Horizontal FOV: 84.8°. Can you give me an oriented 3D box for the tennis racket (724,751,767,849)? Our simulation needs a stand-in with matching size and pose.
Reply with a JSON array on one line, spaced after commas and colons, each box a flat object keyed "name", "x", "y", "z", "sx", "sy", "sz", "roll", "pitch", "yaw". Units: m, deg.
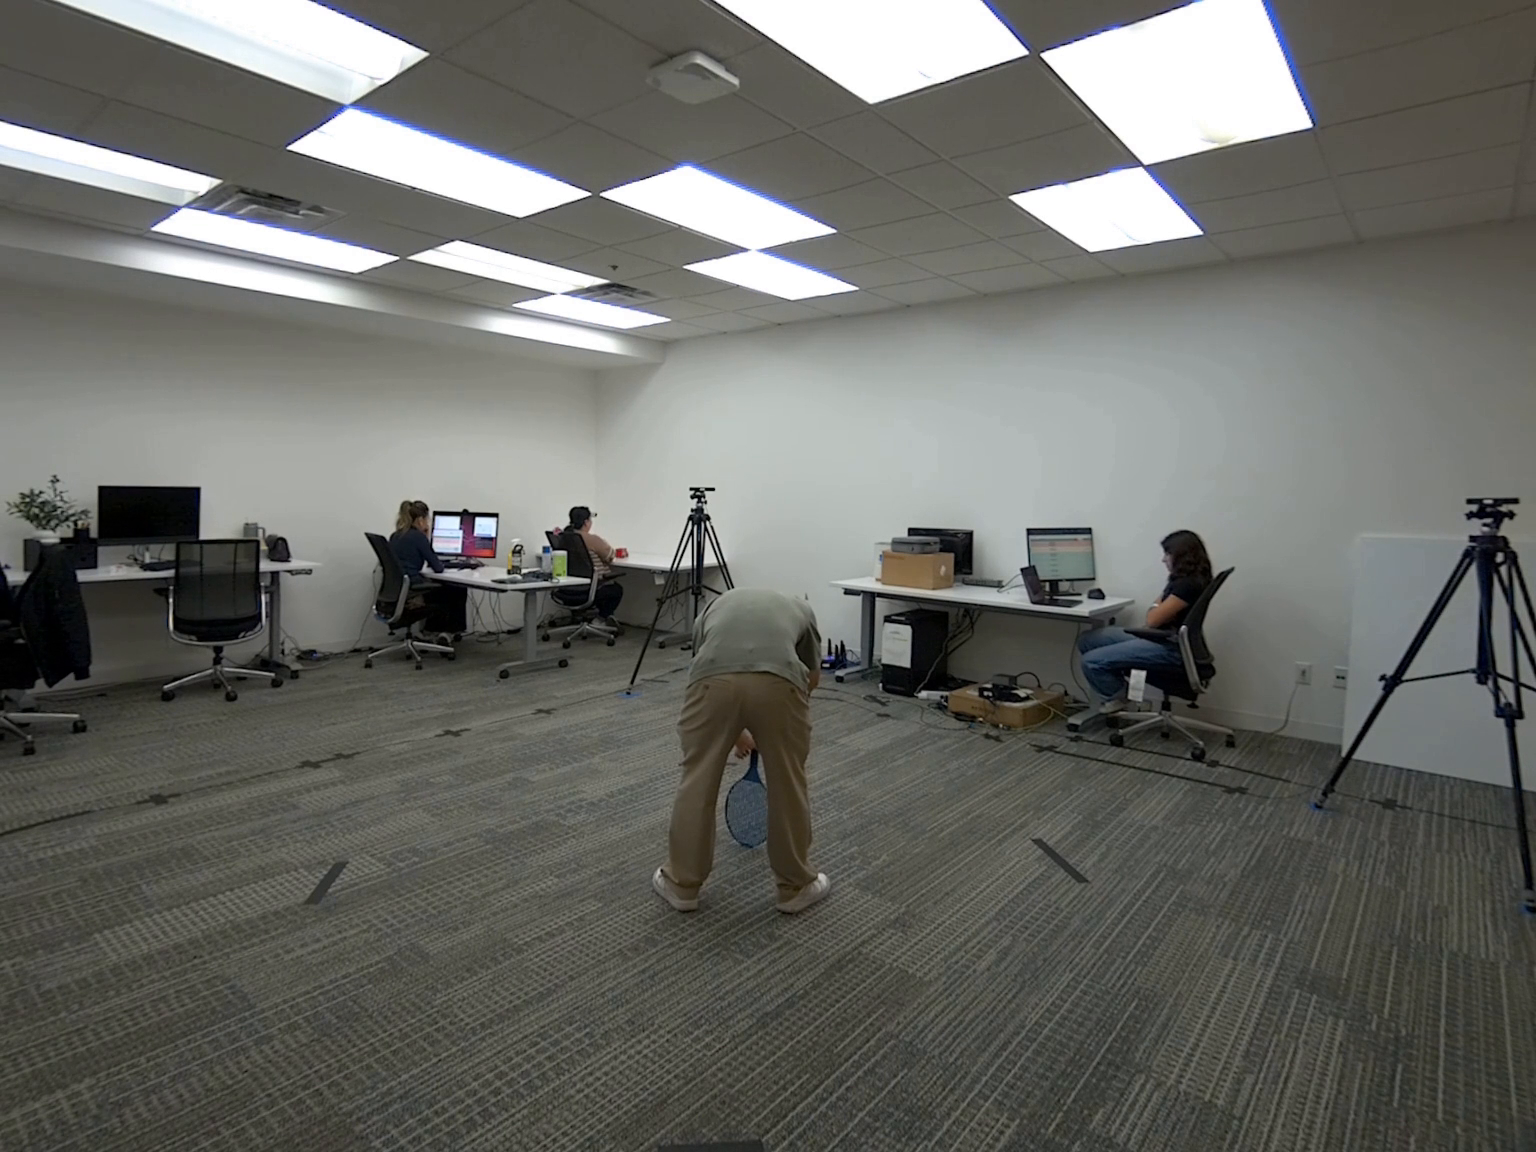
[{"name": "tennis racket", "x": -0.075, "y": 0.832, "z": 3.305, "sx": 0.220, "sy": 0.433, "sz": 0.031, "roll": 5, "pitch": 1, "yaw": 30}]
